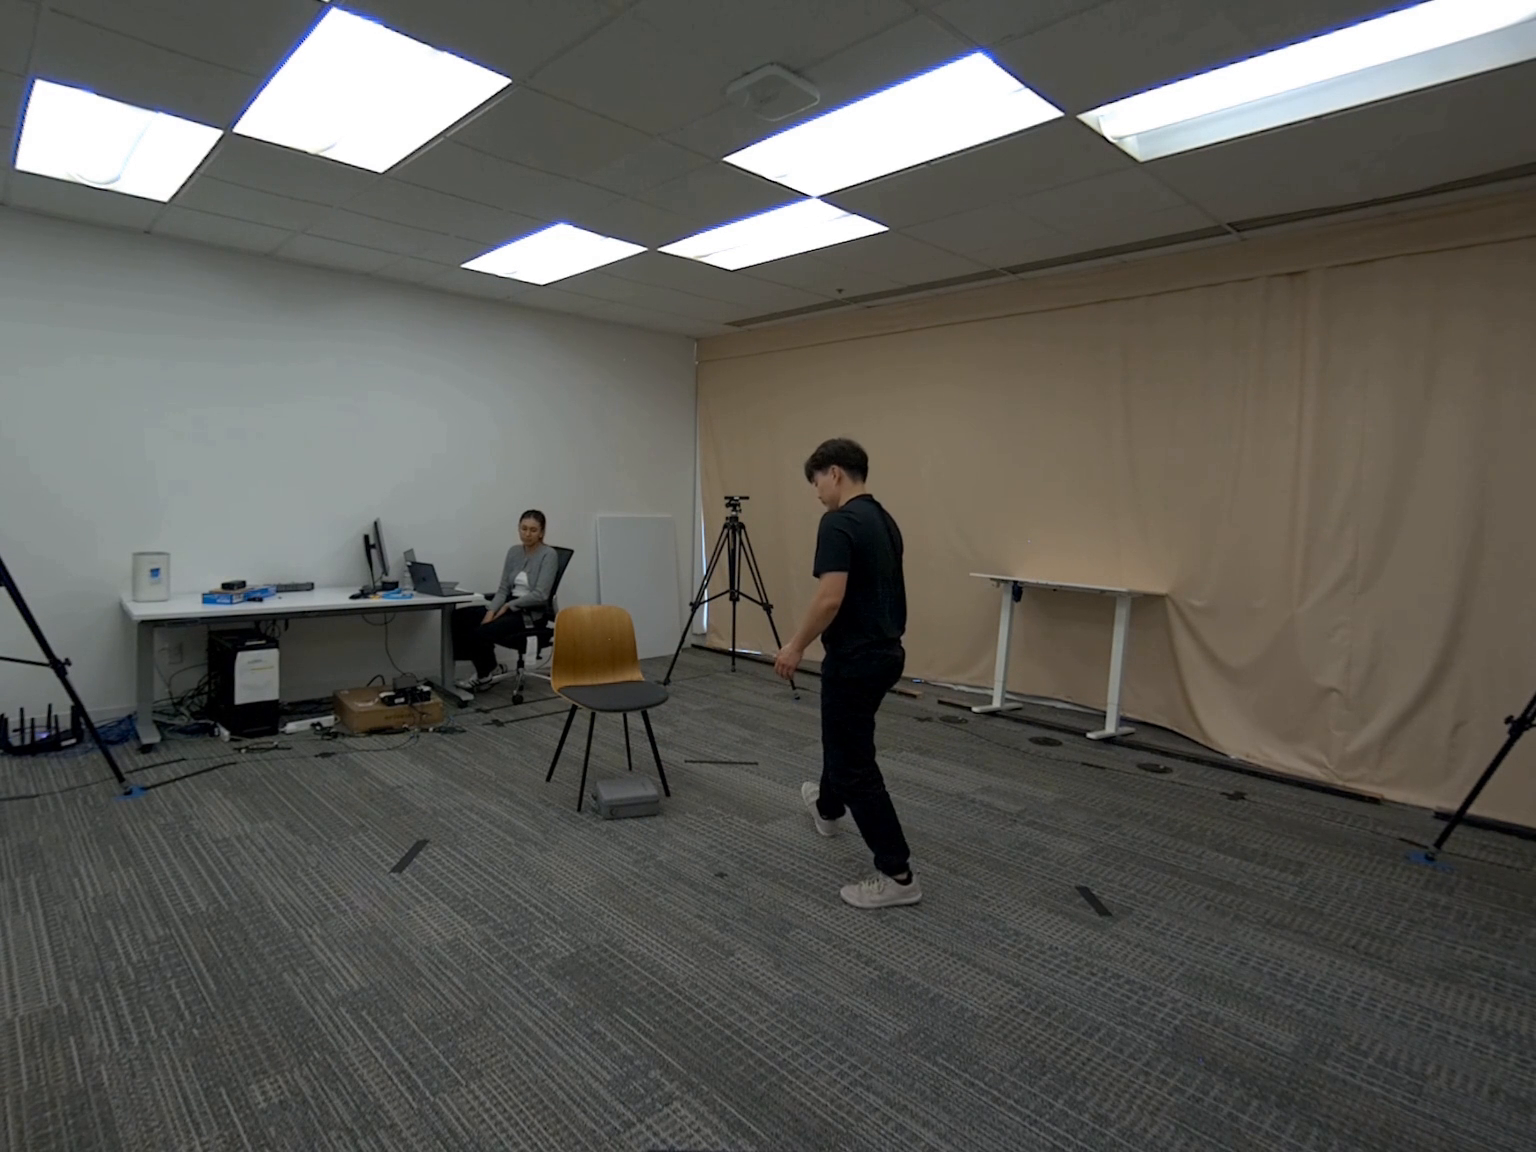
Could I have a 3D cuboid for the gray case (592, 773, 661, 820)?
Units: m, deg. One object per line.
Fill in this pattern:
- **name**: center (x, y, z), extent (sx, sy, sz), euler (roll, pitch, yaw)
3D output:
- **gray case**: center (-0.640, 0.981, 3.743), extent (0.257, 0.104, 0.261), euler (-2, 7, -17)
